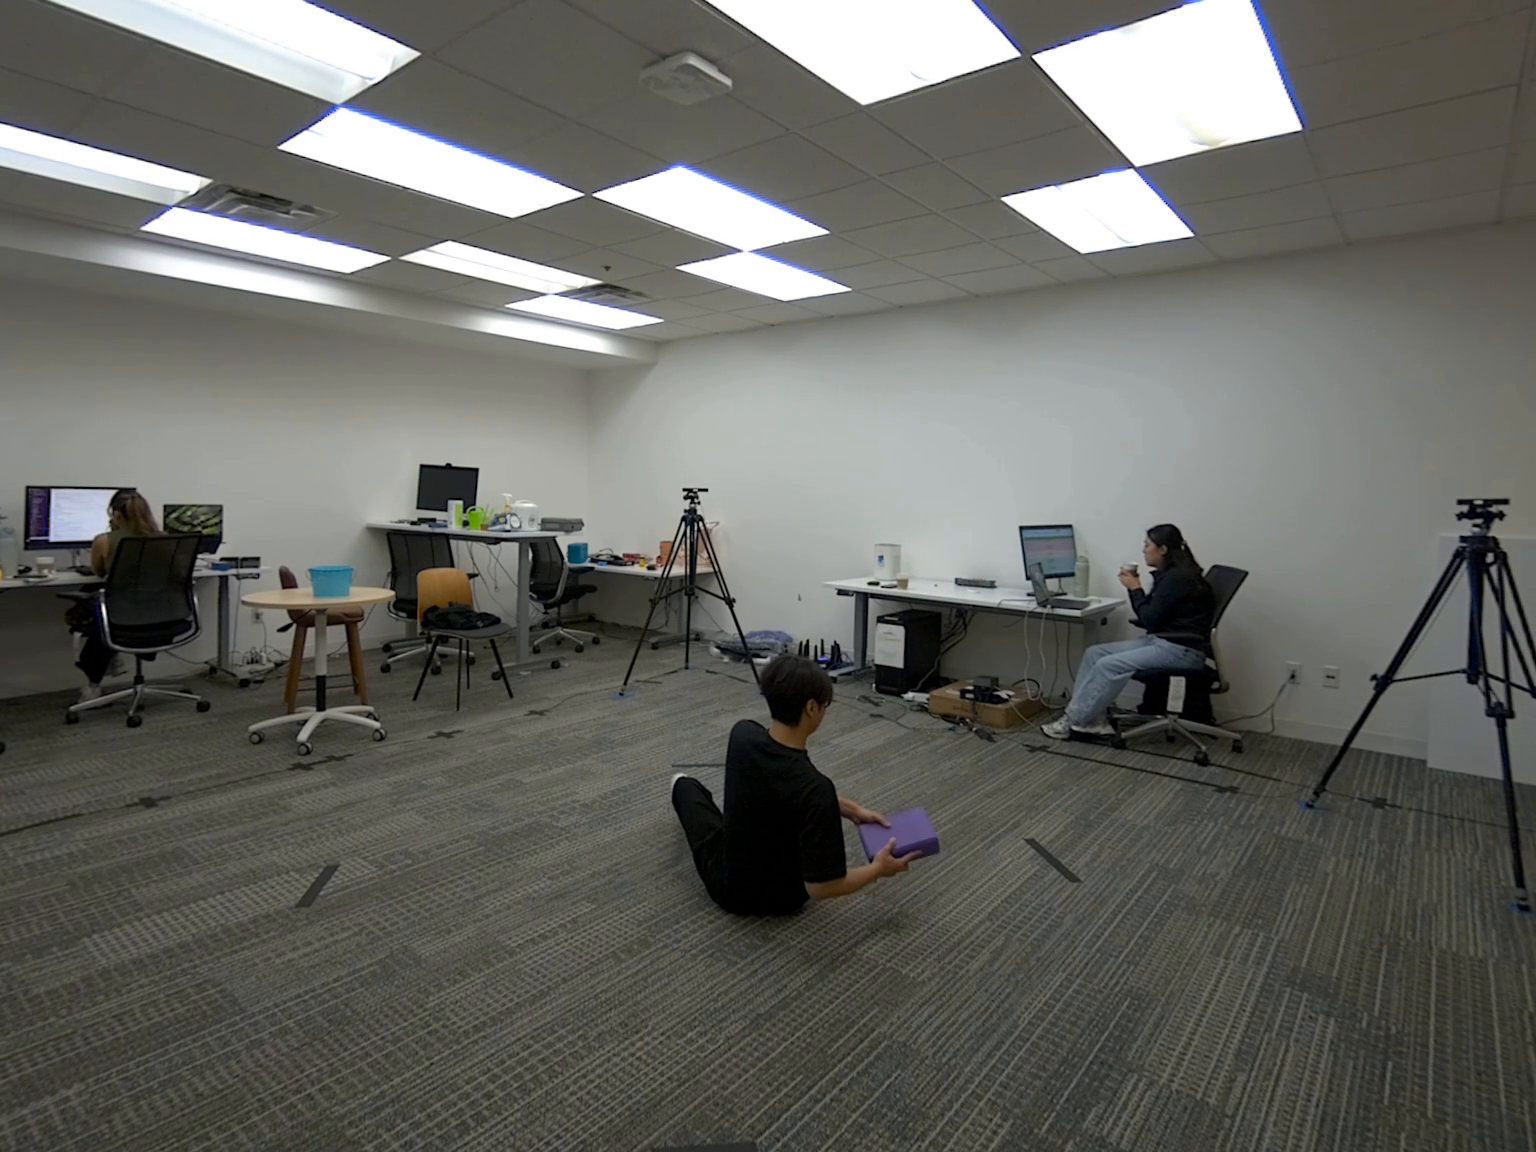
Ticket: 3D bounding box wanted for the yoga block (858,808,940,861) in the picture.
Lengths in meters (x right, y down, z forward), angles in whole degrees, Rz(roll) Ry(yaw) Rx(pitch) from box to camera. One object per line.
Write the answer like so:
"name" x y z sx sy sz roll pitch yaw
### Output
"yoga block" 0.422 0.864 2.765 0.228 0.074 0.154 -20 27 -9
